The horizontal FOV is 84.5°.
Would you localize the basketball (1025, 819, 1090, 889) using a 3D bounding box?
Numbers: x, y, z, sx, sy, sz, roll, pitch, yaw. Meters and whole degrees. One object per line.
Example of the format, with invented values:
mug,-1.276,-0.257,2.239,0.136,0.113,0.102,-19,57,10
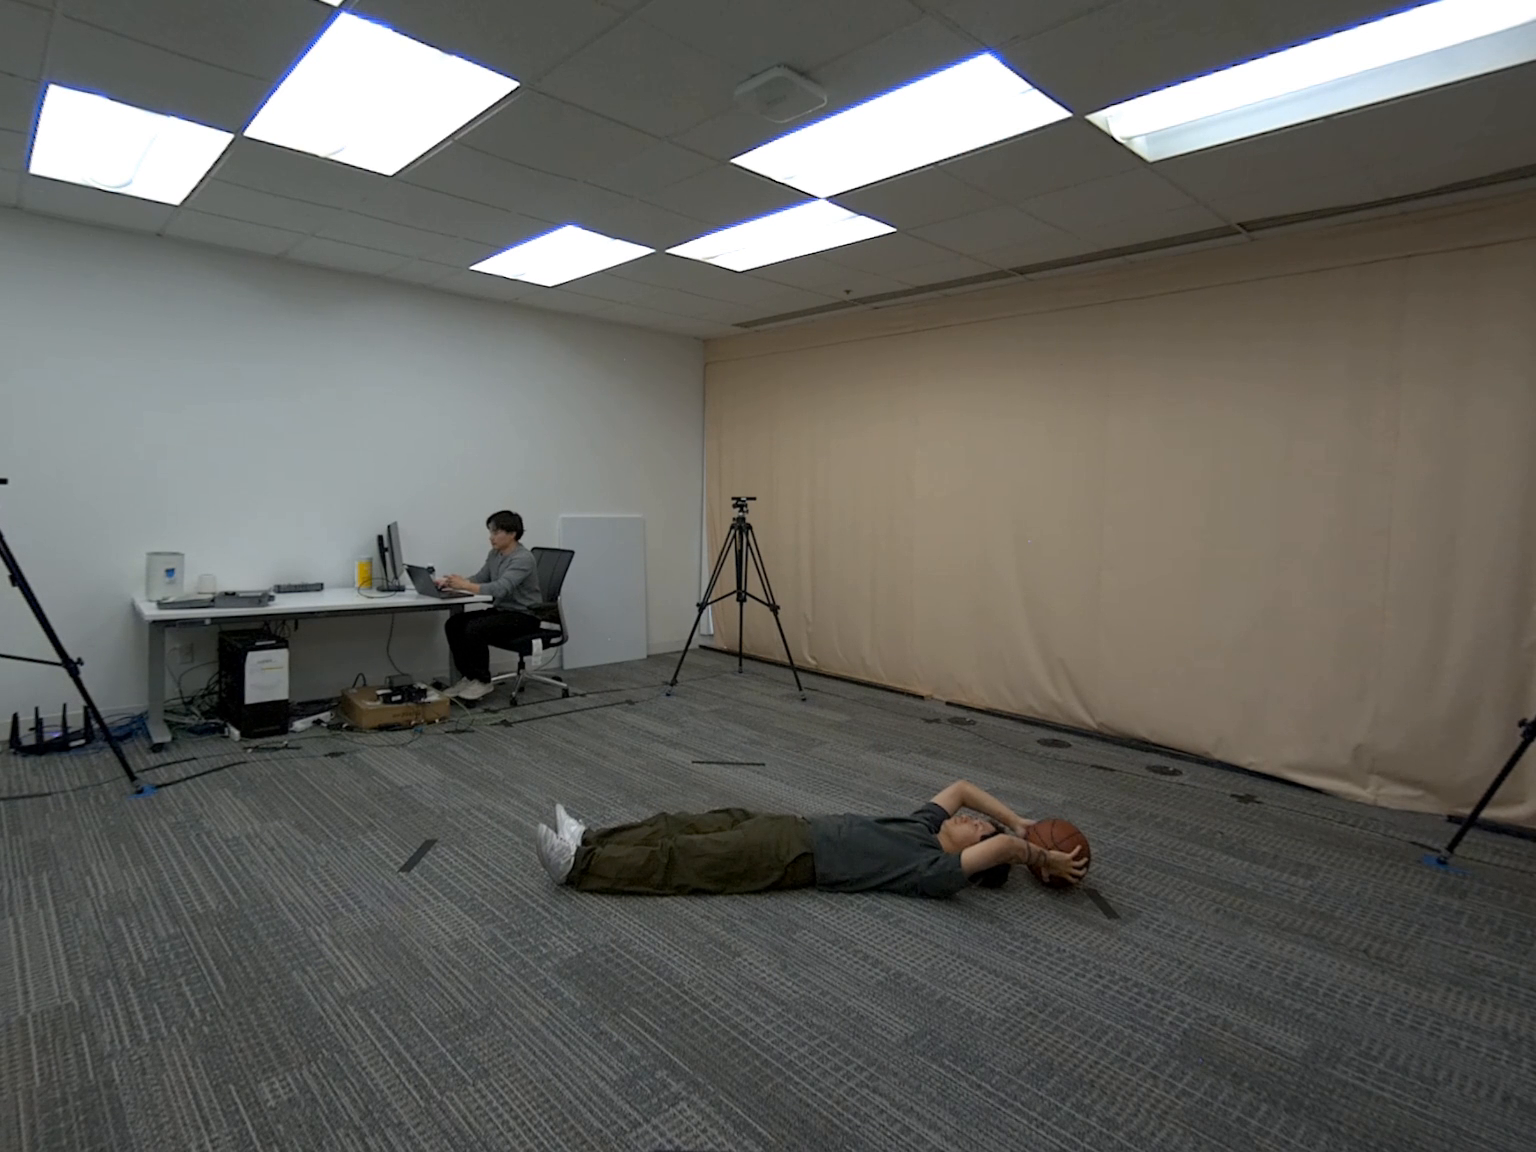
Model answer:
basketball,1.060,1.019,3.113,0.236,0.235,0.237,1,4,-1
